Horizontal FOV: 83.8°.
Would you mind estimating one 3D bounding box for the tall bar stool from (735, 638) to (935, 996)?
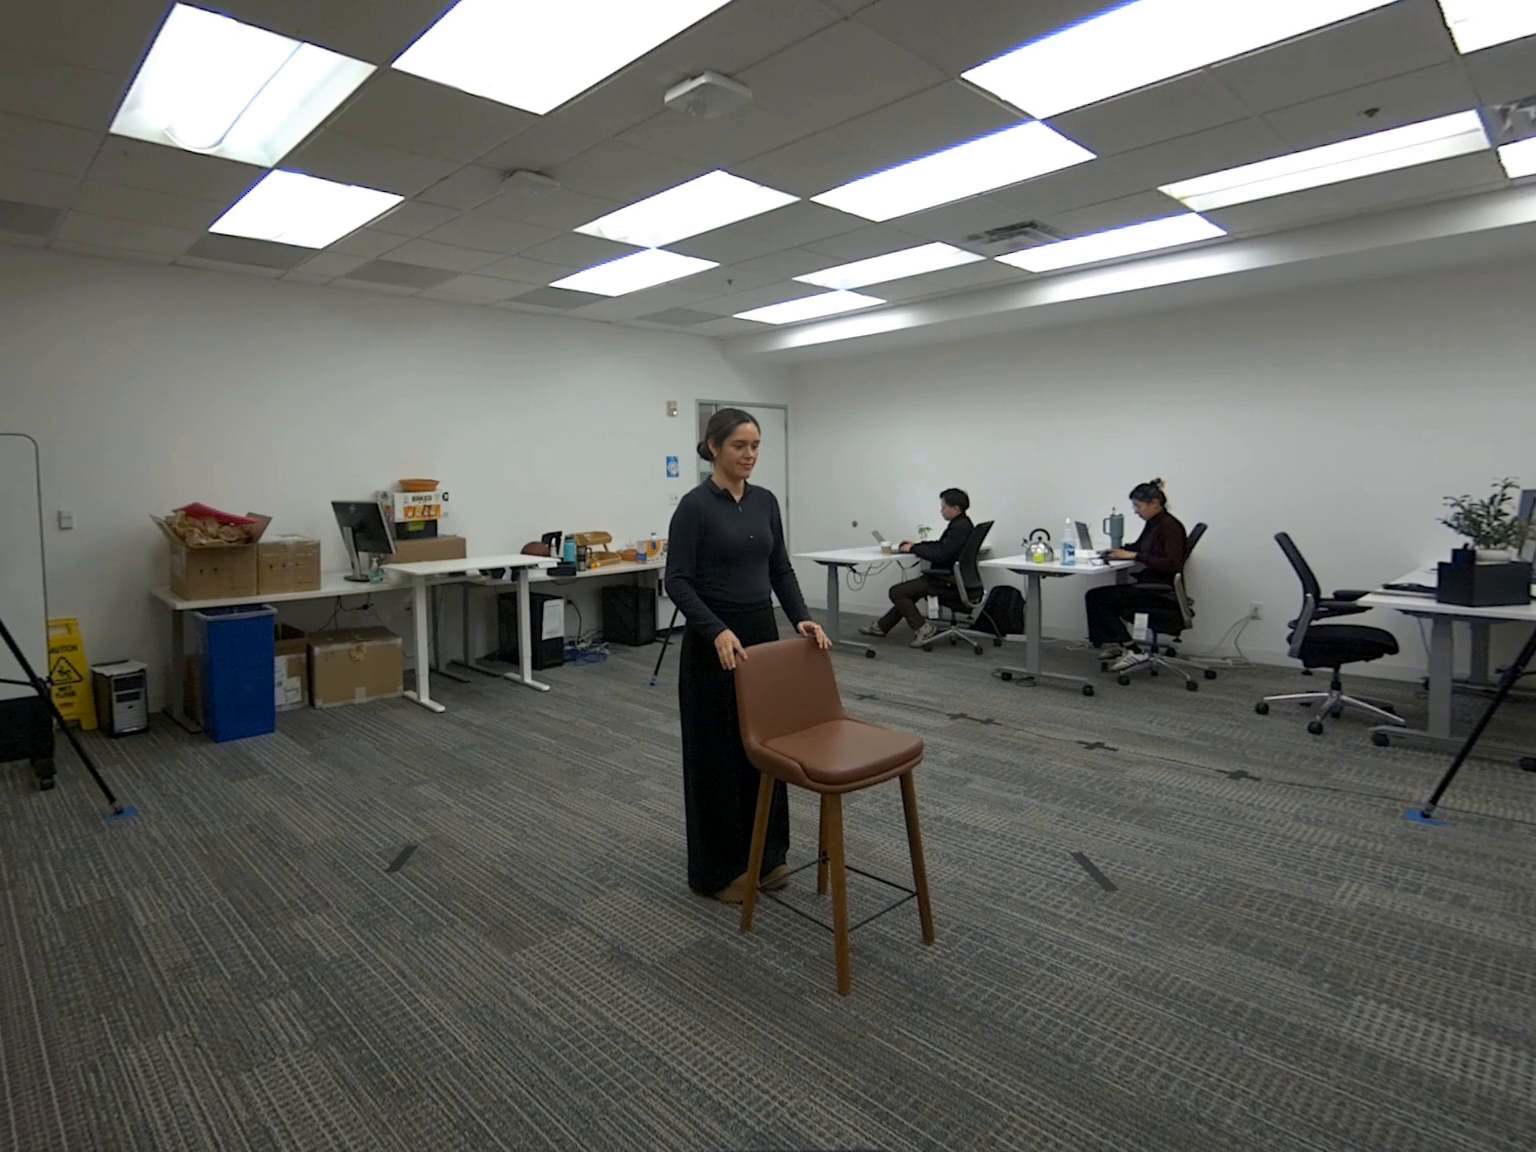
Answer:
[{"bbox_3d":[0.189,0.661,2.580,0.444,0.888,0.481,-4,3,-42],"label":"tall bar stool"}]
